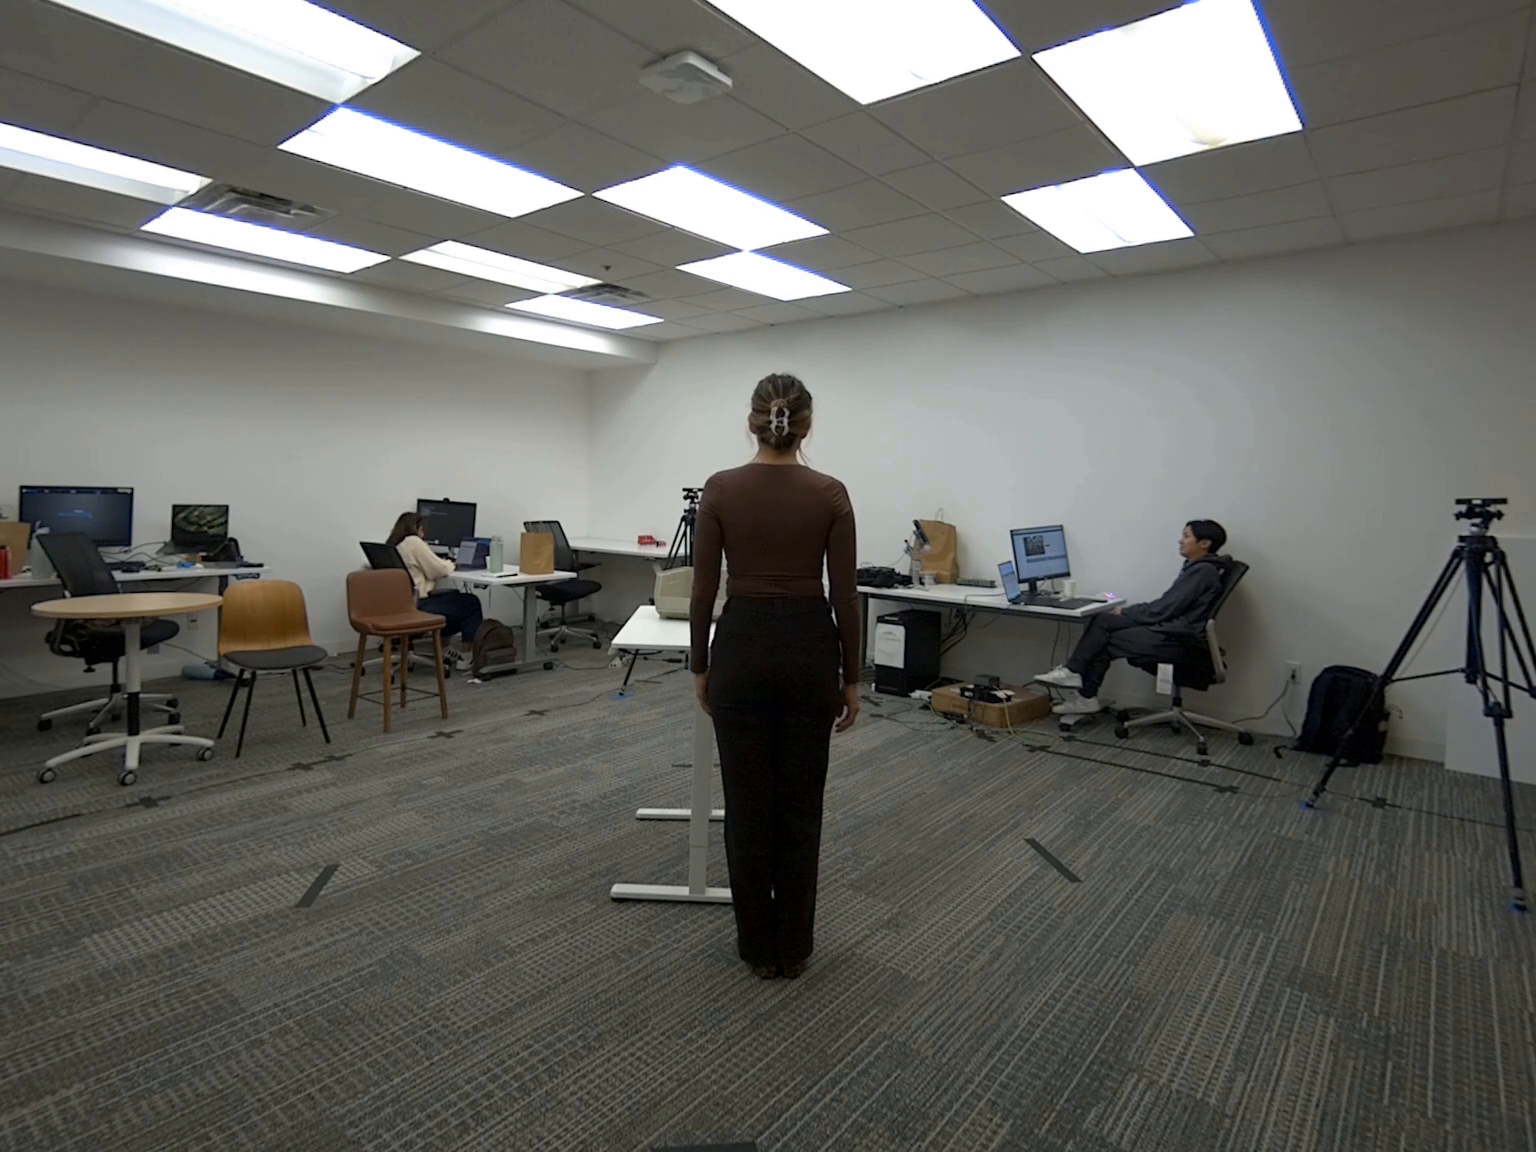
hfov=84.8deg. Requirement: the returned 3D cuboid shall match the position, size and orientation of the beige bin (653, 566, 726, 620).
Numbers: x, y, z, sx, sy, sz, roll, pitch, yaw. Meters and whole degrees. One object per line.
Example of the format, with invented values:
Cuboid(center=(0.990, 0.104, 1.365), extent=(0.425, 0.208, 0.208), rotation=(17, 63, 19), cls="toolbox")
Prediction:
Cuboid(center=(-0.203, 0.075, 3.369), extent=(0.429, 0.188, 0.372), rotation=(3, 4, 14), cls="beige bin")
